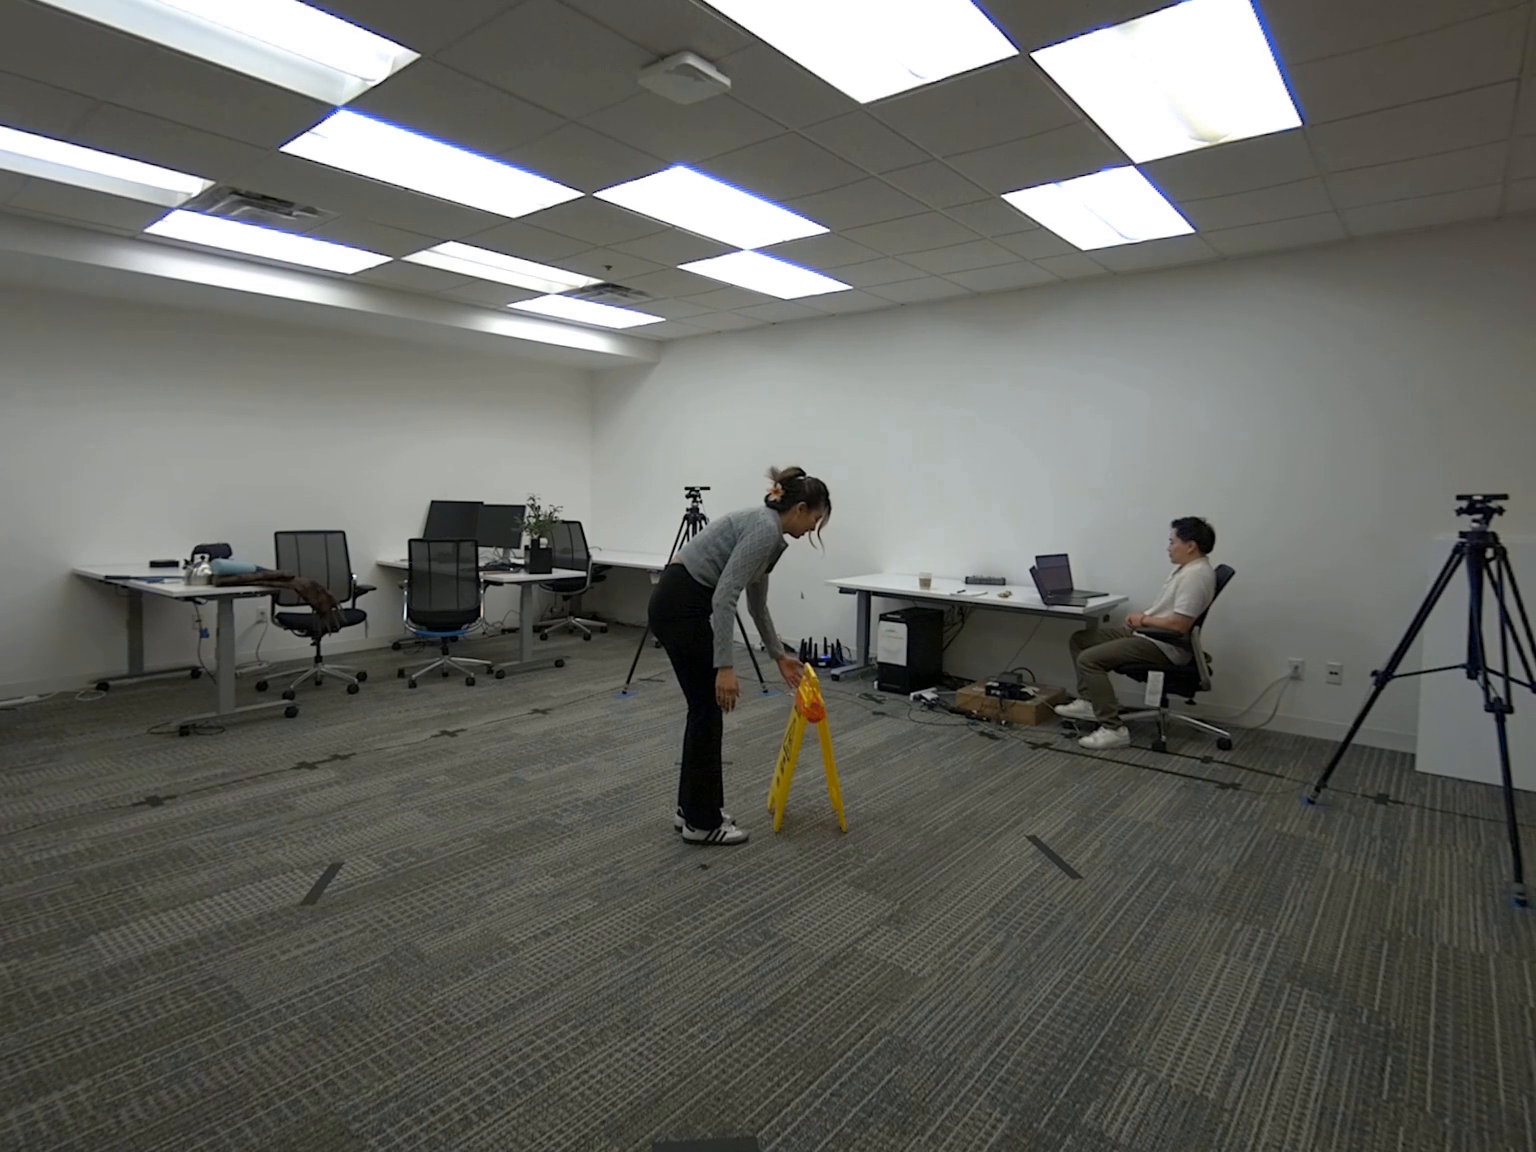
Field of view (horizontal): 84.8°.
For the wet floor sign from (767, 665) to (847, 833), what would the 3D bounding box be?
[{"bbox_3d":[0.160,0.695,3.544,0.288,0.641,0.286,1,8,-6],"label":"wet floor sign"}]
